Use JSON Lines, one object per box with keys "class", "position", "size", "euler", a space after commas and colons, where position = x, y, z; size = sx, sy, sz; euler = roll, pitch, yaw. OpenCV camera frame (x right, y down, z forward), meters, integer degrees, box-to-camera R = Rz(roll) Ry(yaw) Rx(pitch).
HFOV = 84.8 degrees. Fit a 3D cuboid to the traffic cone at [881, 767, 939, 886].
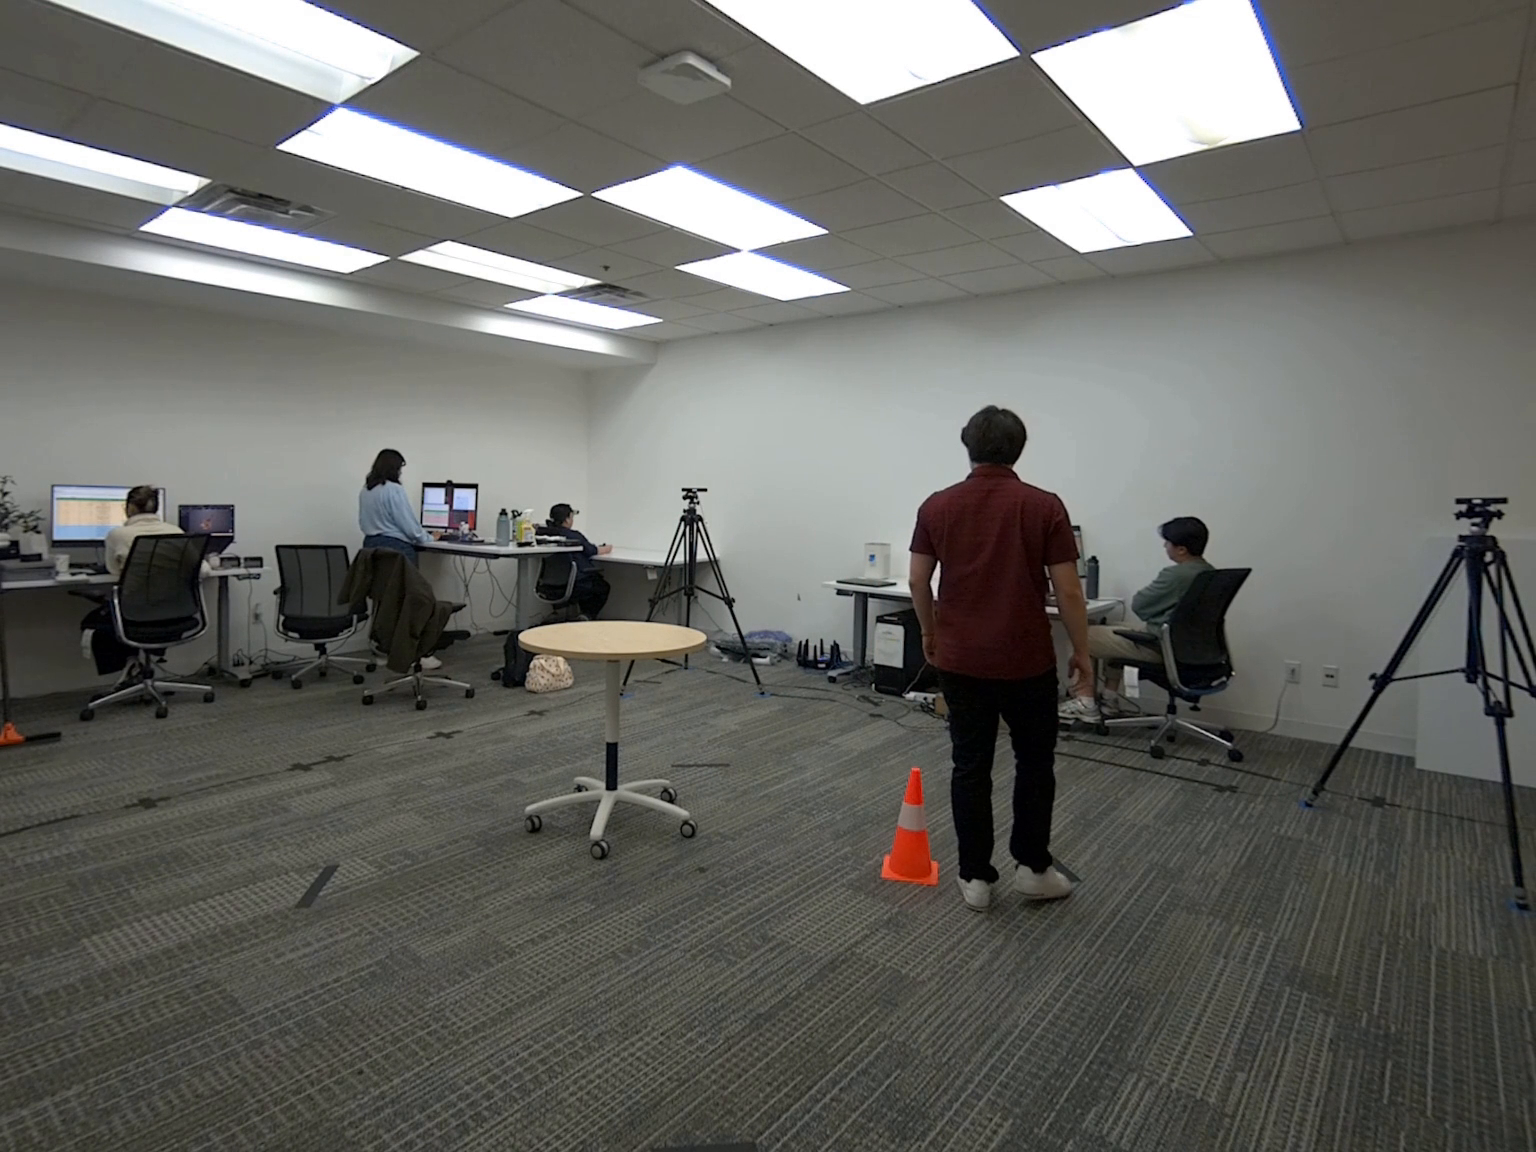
{"class": "traffic cone", "position": [0.531, 0.896, 3.136], "size": [0.207, 0.382, 0.202], "euler": [4, 5, 13]}
